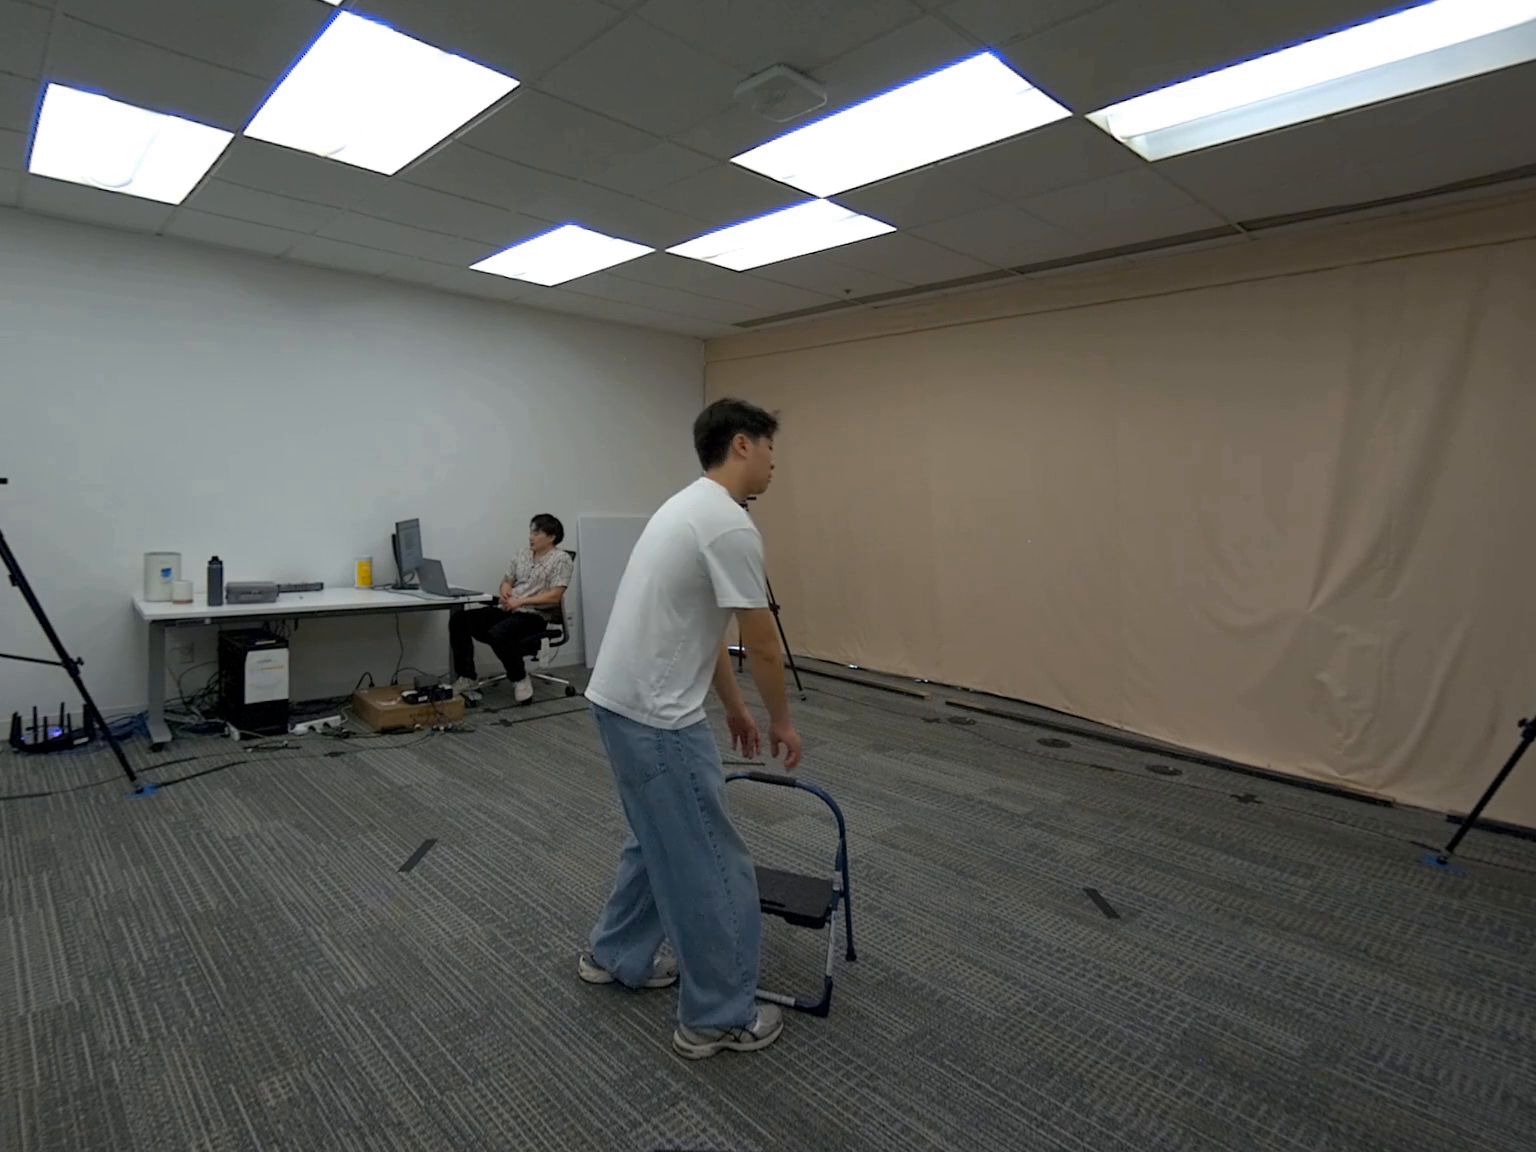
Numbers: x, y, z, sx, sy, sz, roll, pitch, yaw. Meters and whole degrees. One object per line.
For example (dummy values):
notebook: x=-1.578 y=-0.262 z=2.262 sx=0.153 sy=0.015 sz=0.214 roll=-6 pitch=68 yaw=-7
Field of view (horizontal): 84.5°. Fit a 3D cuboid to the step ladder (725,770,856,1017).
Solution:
step ladder: x=0.025 y=0.869 z=2.475 sx=0.438 sy=0.604 sz=0.344 roll=4 pitch=4 yaw=20
